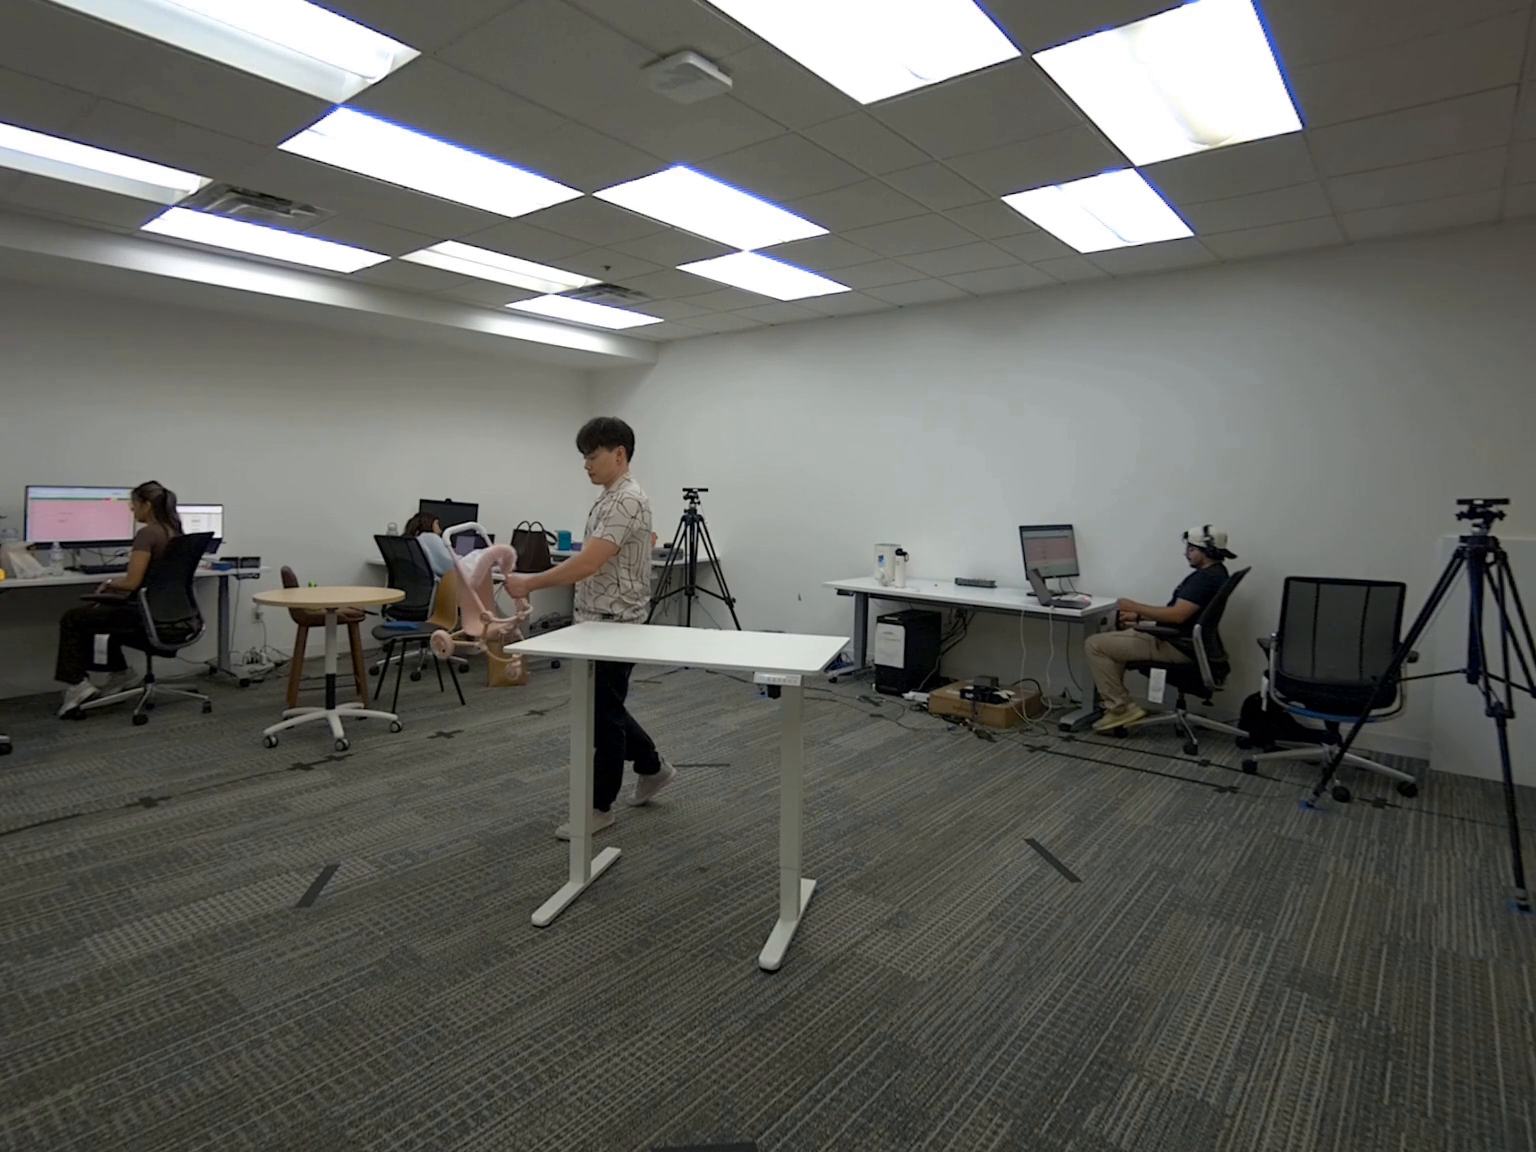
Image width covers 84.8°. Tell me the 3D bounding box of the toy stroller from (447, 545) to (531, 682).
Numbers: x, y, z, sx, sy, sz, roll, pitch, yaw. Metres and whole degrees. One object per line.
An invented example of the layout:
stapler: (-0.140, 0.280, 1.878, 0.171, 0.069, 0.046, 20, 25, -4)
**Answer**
toy stroller: (-1.047, 0.104, 3.156, 0.352, 0.528, 0.276, 15, 17, 26)
